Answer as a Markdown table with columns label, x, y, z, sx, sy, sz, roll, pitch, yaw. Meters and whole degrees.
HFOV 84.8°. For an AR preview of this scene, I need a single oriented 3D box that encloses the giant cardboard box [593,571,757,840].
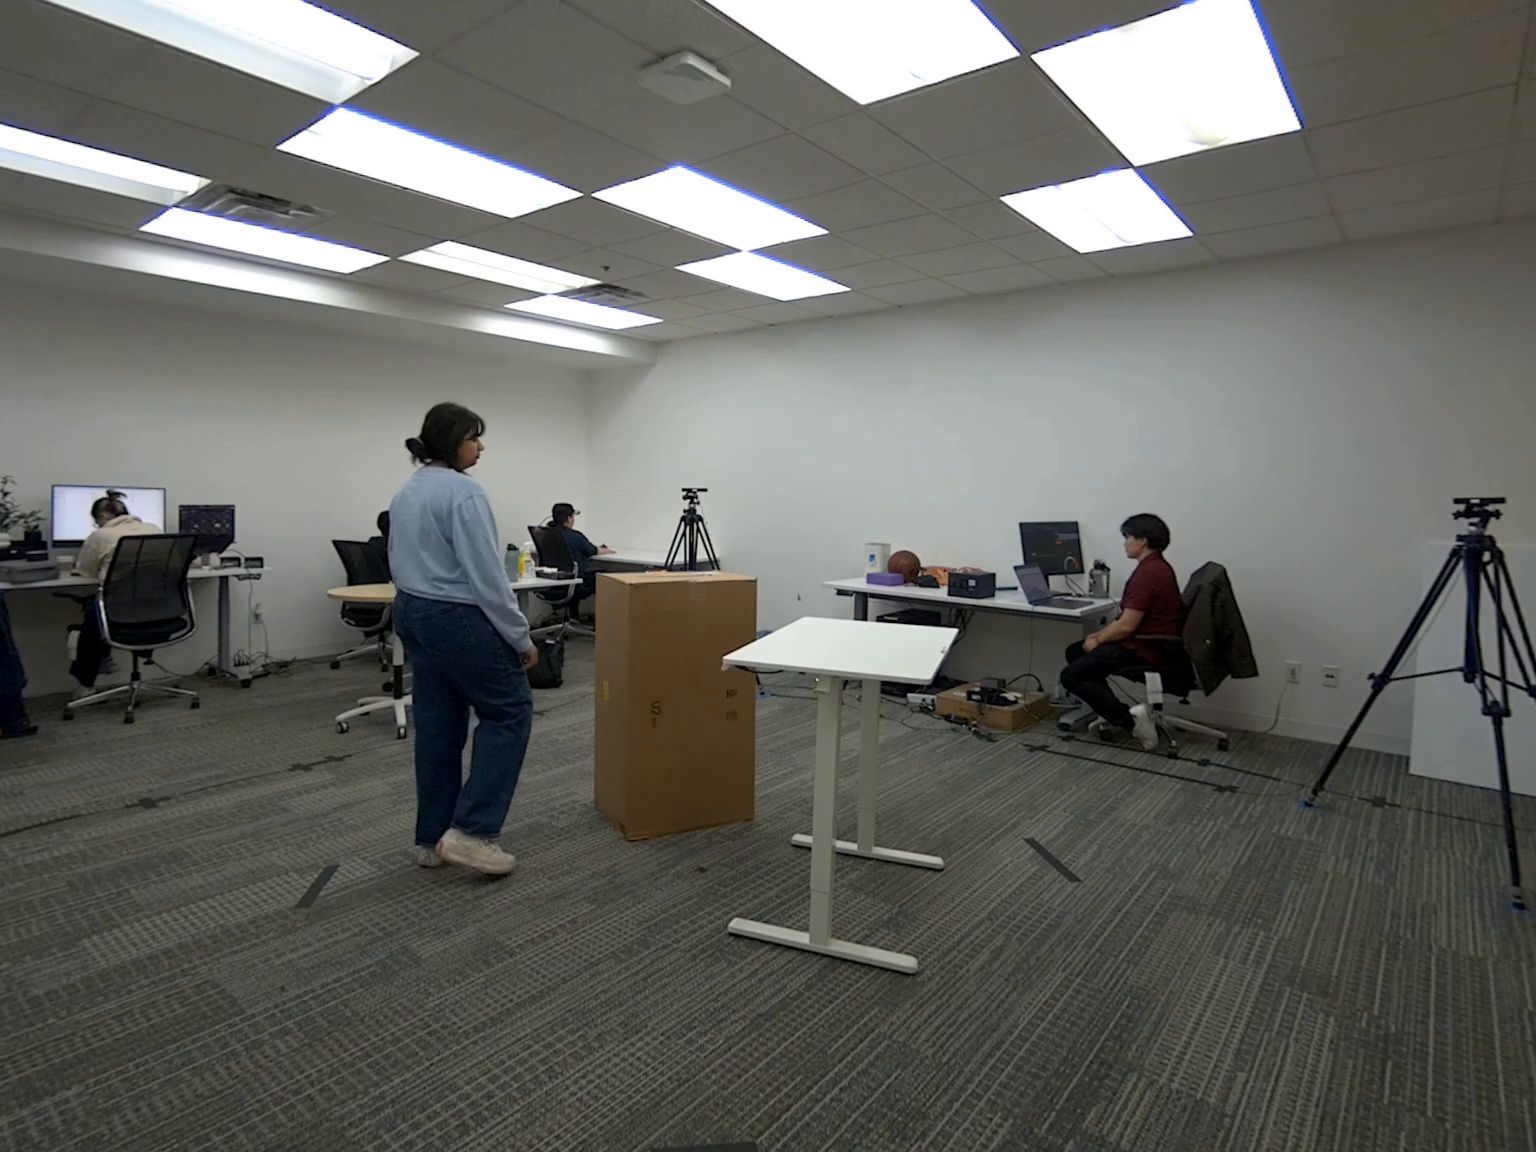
| label | x | y | z | sx | sy | sz | roll | pitch | yaw |
| --- | --- | --- | --- | --- | --- | --- | --- | --- | --- |
| giant cardboard box | -0.412 | 0.506 | 3.637 | 0.563 | 1.023 | 0.438 | -1 | 3 | -28 |
